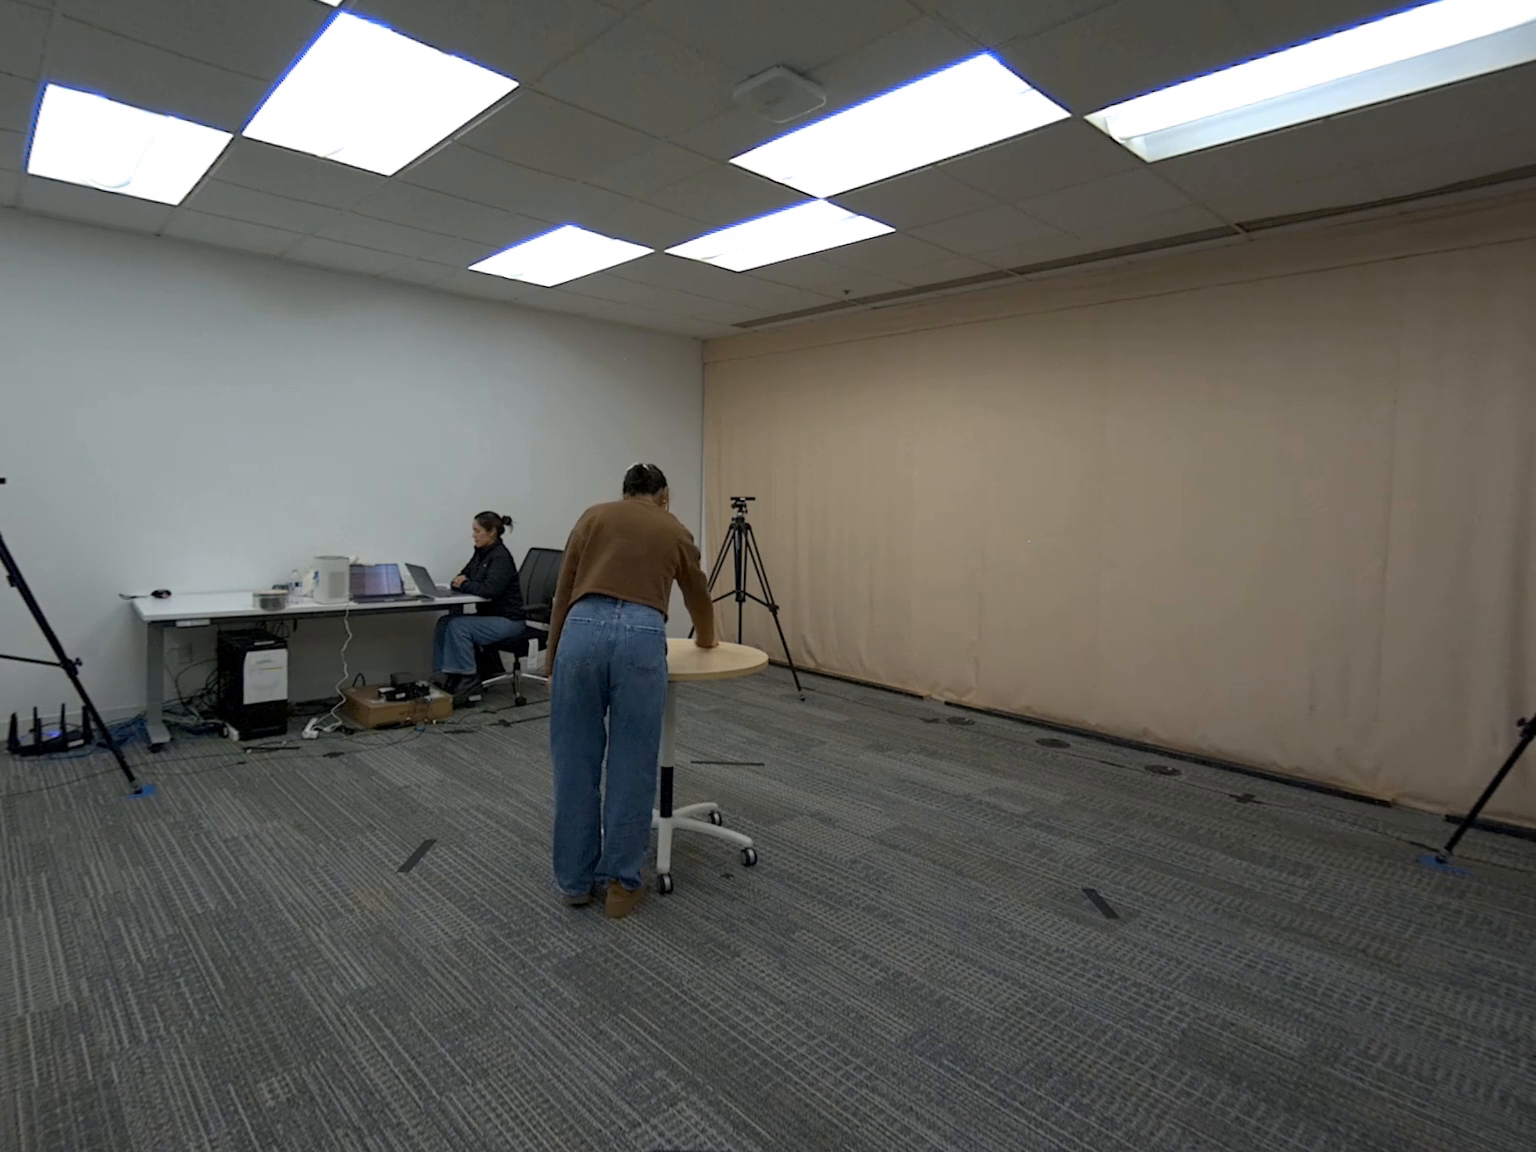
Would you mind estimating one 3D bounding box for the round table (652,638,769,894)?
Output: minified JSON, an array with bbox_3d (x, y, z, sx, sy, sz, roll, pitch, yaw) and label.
[{"bbox_3d":[-0.399,0.698,3.296,0.763,0.792,0.766,1,3,-1],"label":"round table"}]
